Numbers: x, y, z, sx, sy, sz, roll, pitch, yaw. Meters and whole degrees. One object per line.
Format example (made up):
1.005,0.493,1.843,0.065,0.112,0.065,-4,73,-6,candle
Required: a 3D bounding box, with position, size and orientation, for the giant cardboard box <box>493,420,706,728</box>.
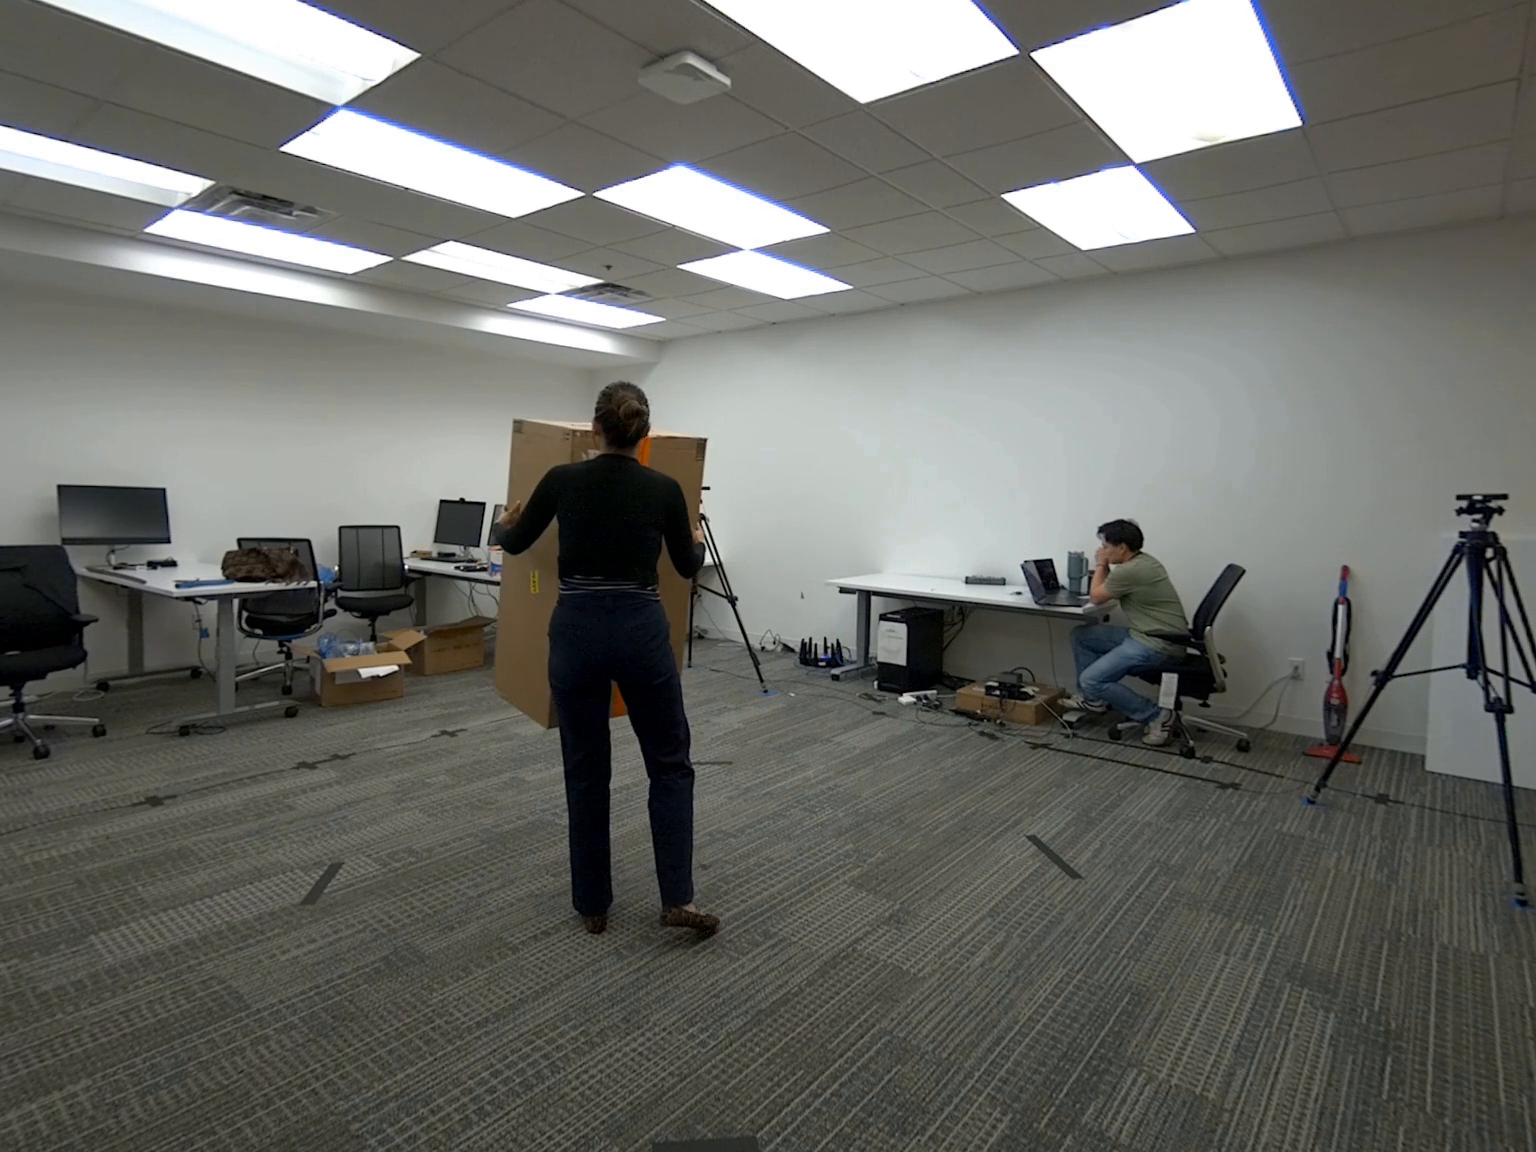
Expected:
-0.633,-0.035,3.147,0.560,1.018,0.443,-2,12,-43,giant cardboard box
